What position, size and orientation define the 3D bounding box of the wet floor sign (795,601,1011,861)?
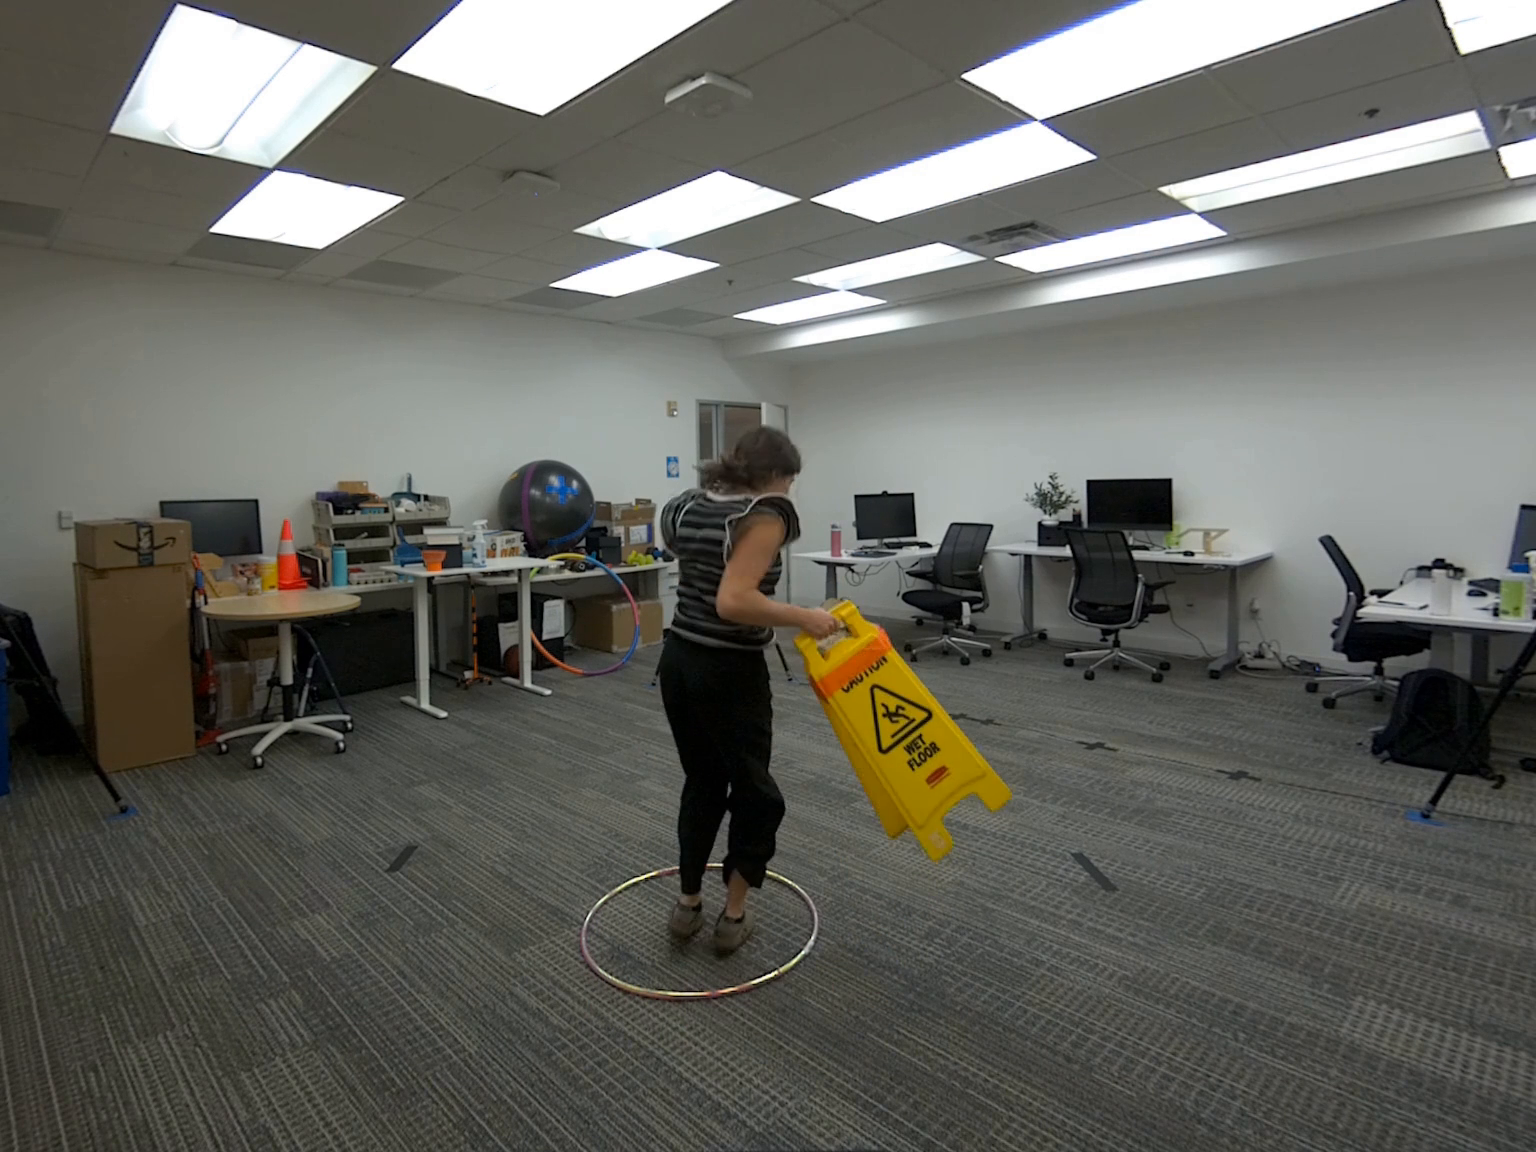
[{"bbox_3d":[0.305,0.400,2.308,0.281,0.645,0.292,-32,2,-15],"label":"wet floor sign"}]
